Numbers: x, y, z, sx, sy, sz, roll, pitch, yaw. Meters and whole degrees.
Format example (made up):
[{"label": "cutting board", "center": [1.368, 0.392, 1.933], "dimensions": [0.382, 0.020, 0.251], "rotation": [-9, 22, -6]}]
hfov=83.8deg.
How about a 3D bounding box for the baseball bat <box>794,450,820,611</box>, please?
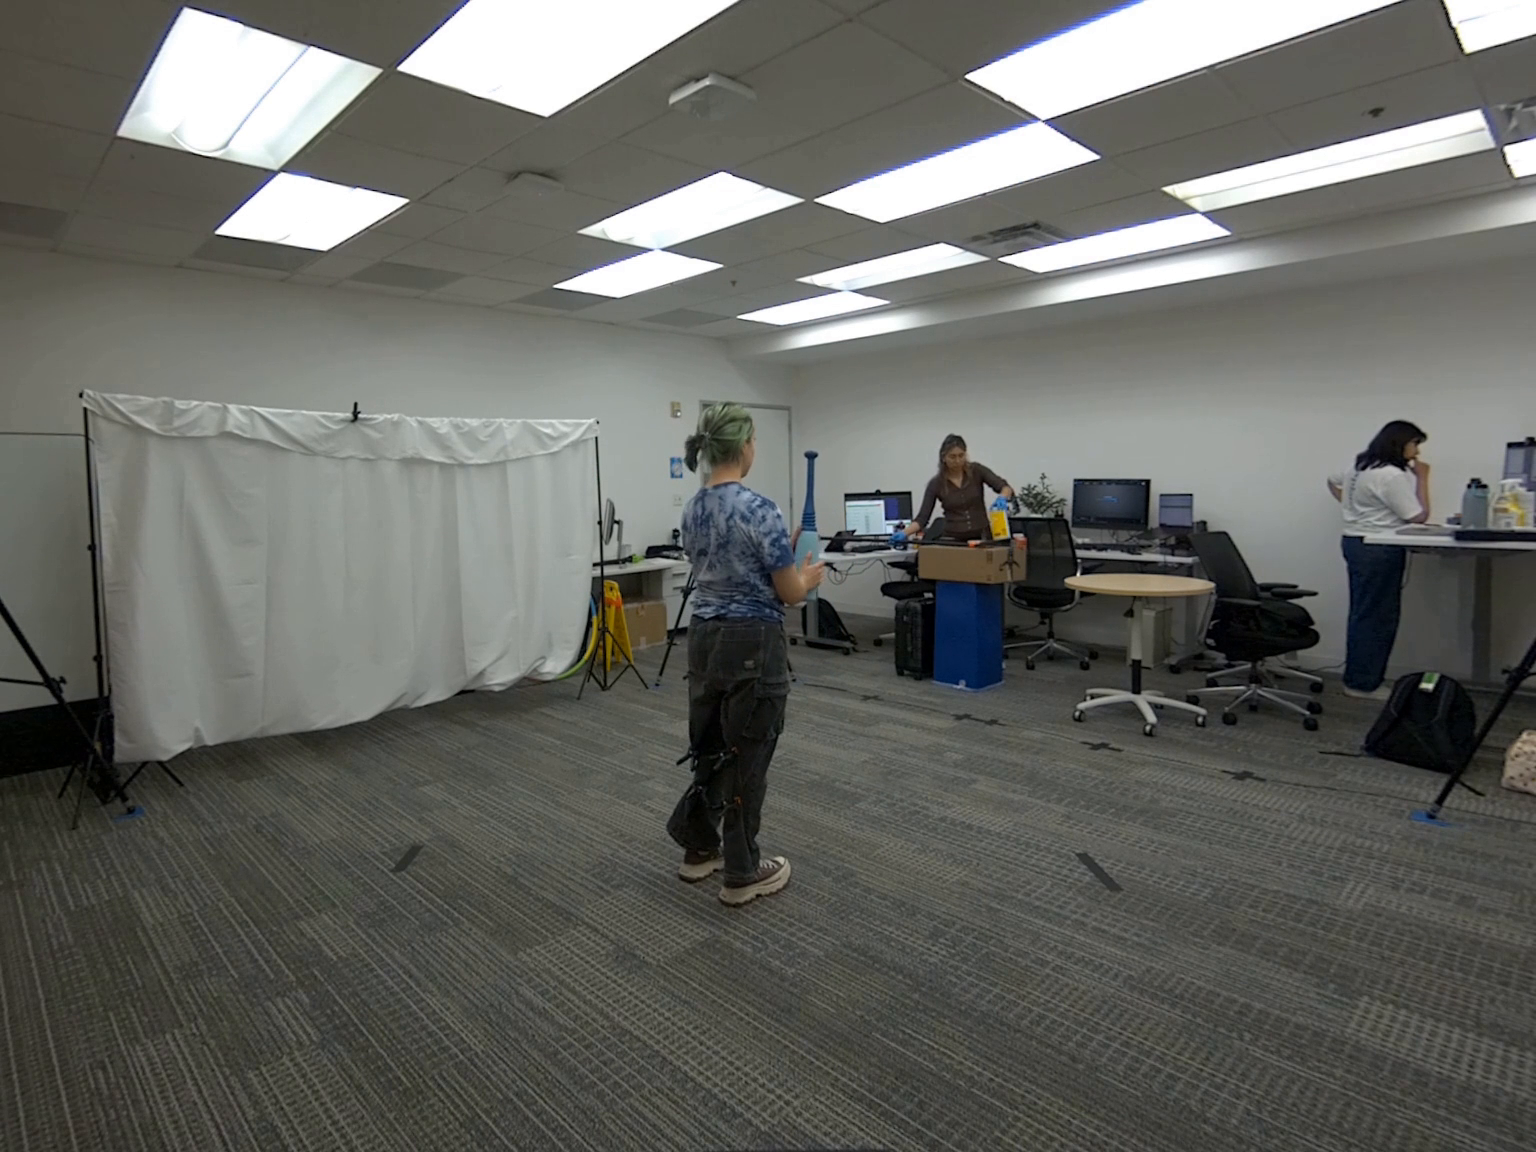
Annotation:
[{"label": "baseball bat", "center": [0.140, -0.182, 3.071], "dimensions": [0.089, 0.544, 0.089], "rotation": [2, -3, -2]}]
